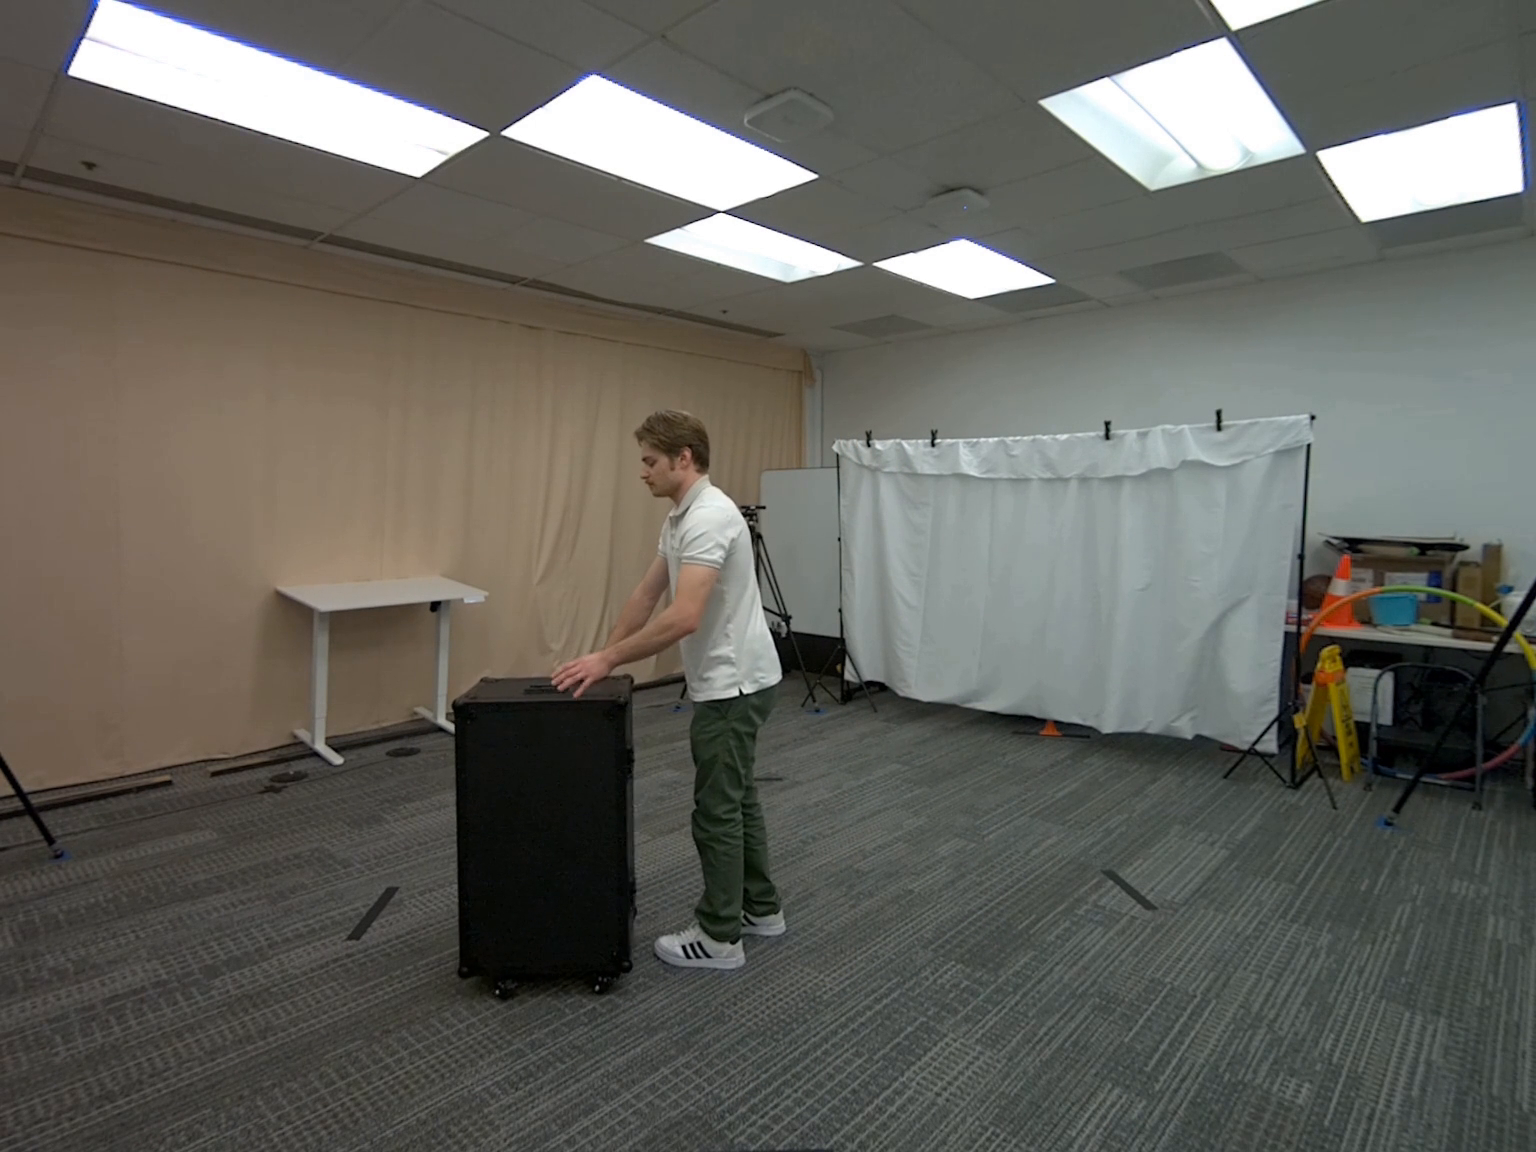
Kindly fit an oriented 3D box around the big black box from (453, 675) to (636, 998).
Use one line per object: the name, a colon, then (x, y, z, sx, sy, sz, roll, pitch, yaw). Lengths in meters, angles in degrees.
big black box: (-0.656, 0.768, 2.533, 0.521, 0.867, 0.387, 0, 2, -4)
